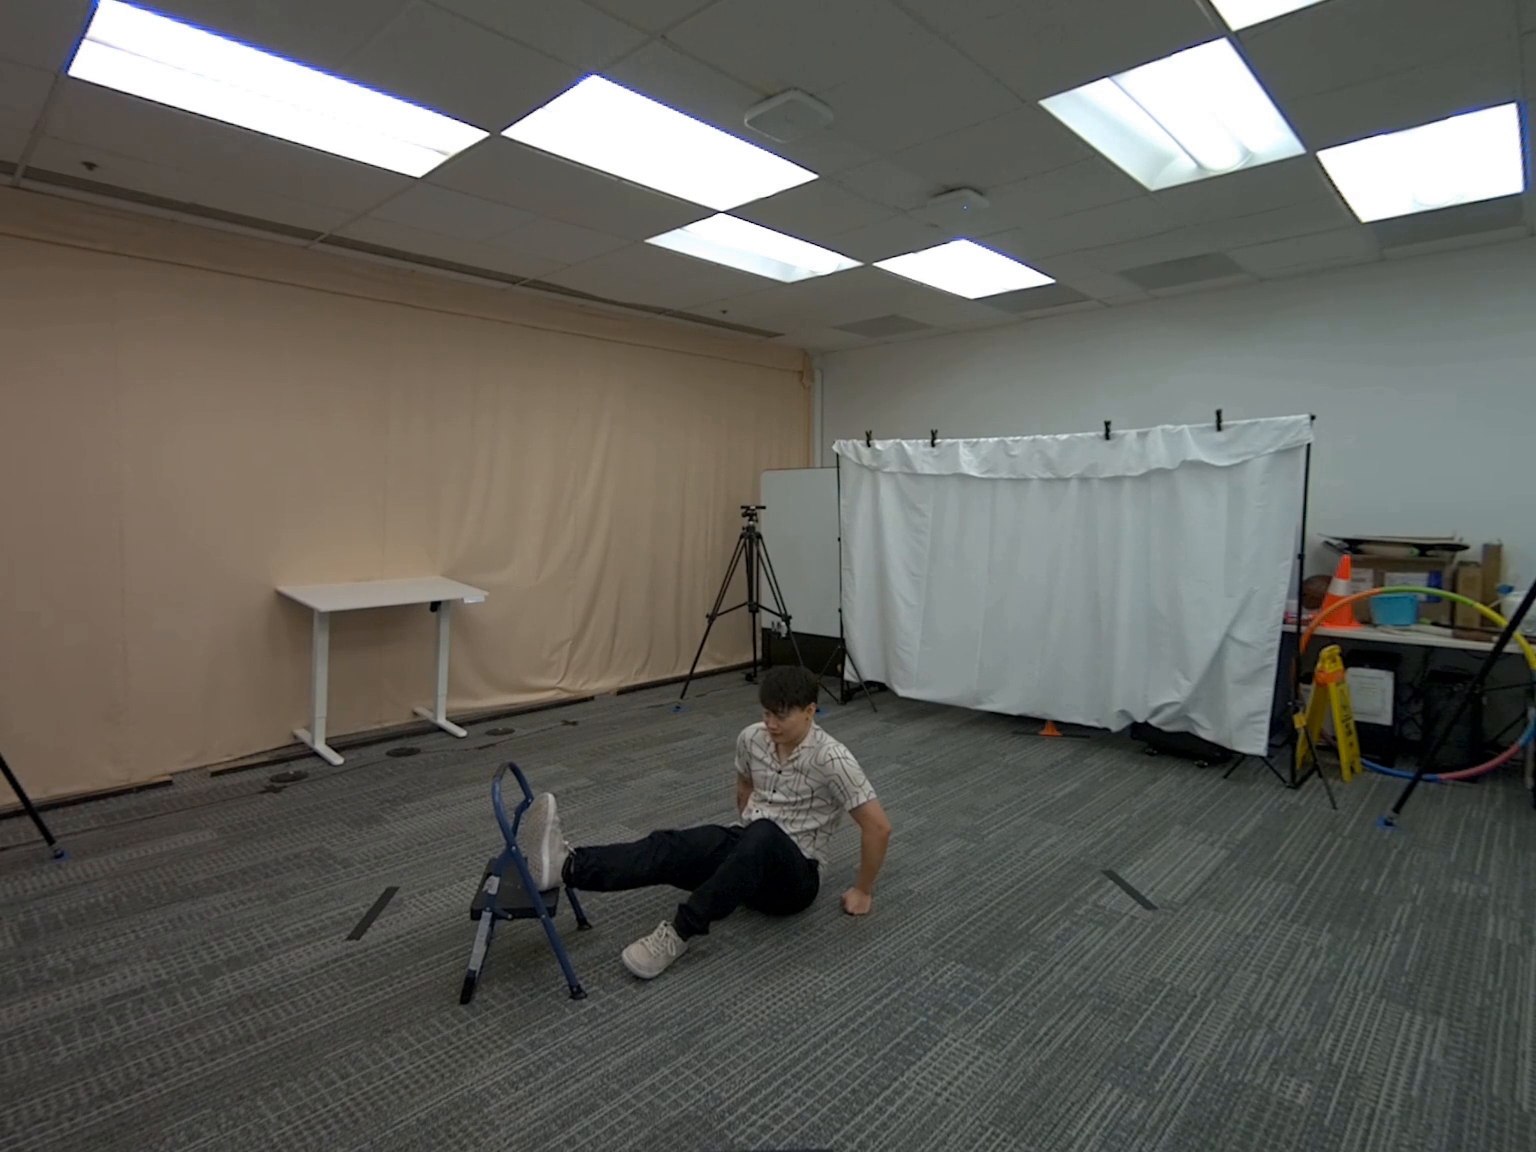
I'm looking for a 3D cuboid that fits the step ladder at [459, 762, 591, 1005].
[{"bbox_3d":[-0.733,0.890,2.554,0.346,0.605,0.435,0,3,-9],"label":"step ladder"}]
